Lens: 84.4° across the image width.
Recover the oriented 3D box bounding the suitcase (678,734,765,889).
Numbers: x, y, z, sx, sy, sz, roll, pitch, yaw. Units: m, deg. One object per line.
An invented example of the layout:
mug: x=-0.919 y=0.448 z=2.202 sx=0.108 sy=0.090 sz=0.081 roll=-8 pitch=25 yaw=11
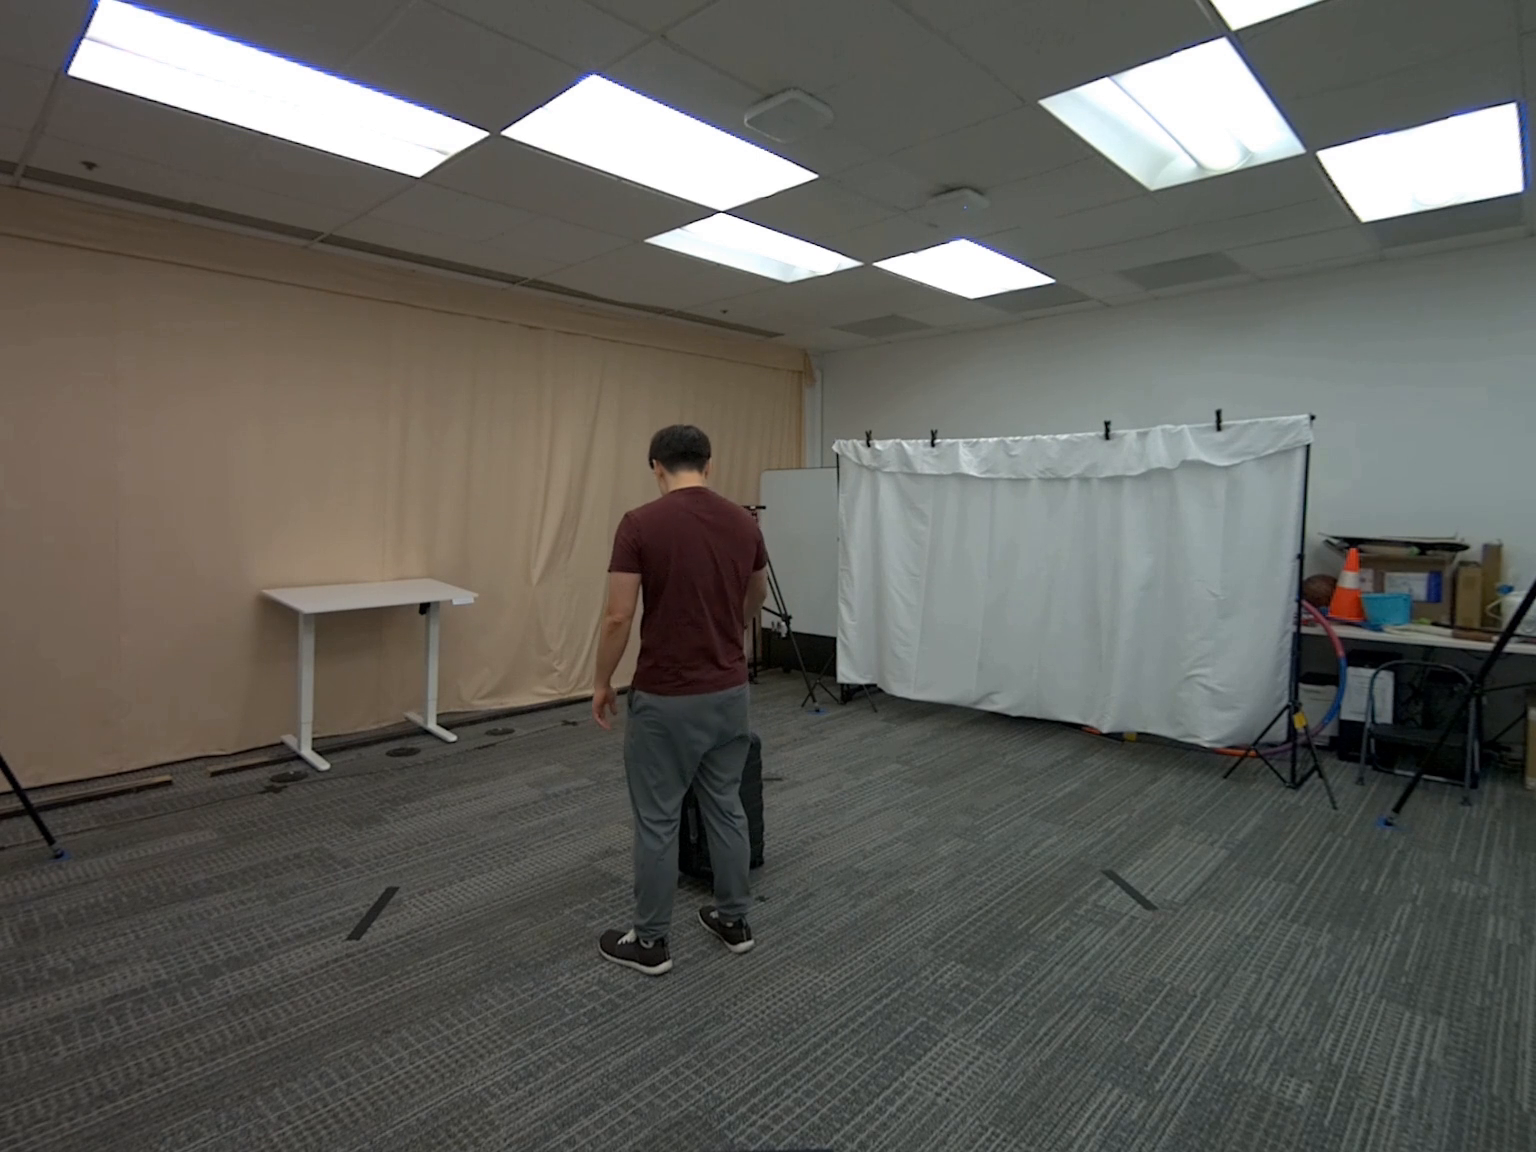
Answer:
suitcase: x=-0.210 y=0.656 z=3.158 sx=0.264 sy=0.977 sz=0.373 roll=-1 pitch=2 yaw=32
